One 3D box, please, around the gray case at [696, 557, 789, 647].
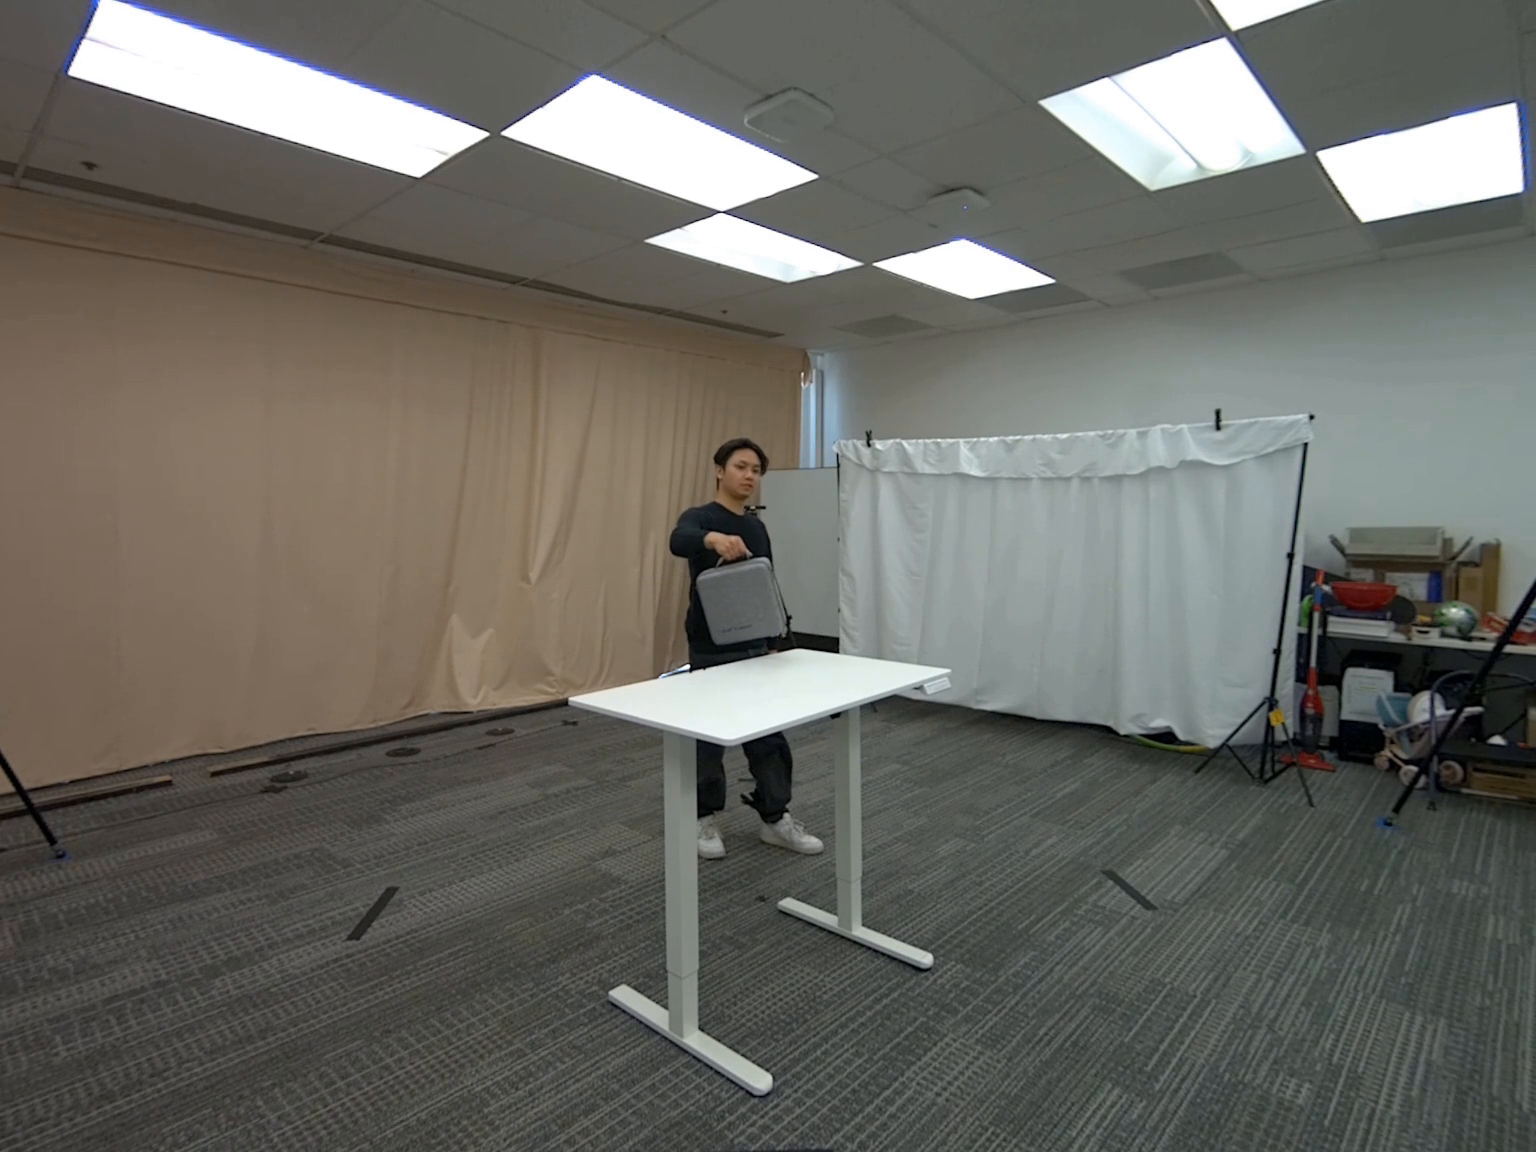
[{"bbox_3d":[-0.091,0.084,2.803,0.261,0.258,0.103,-9,10,16],"label":"gray case"}]
